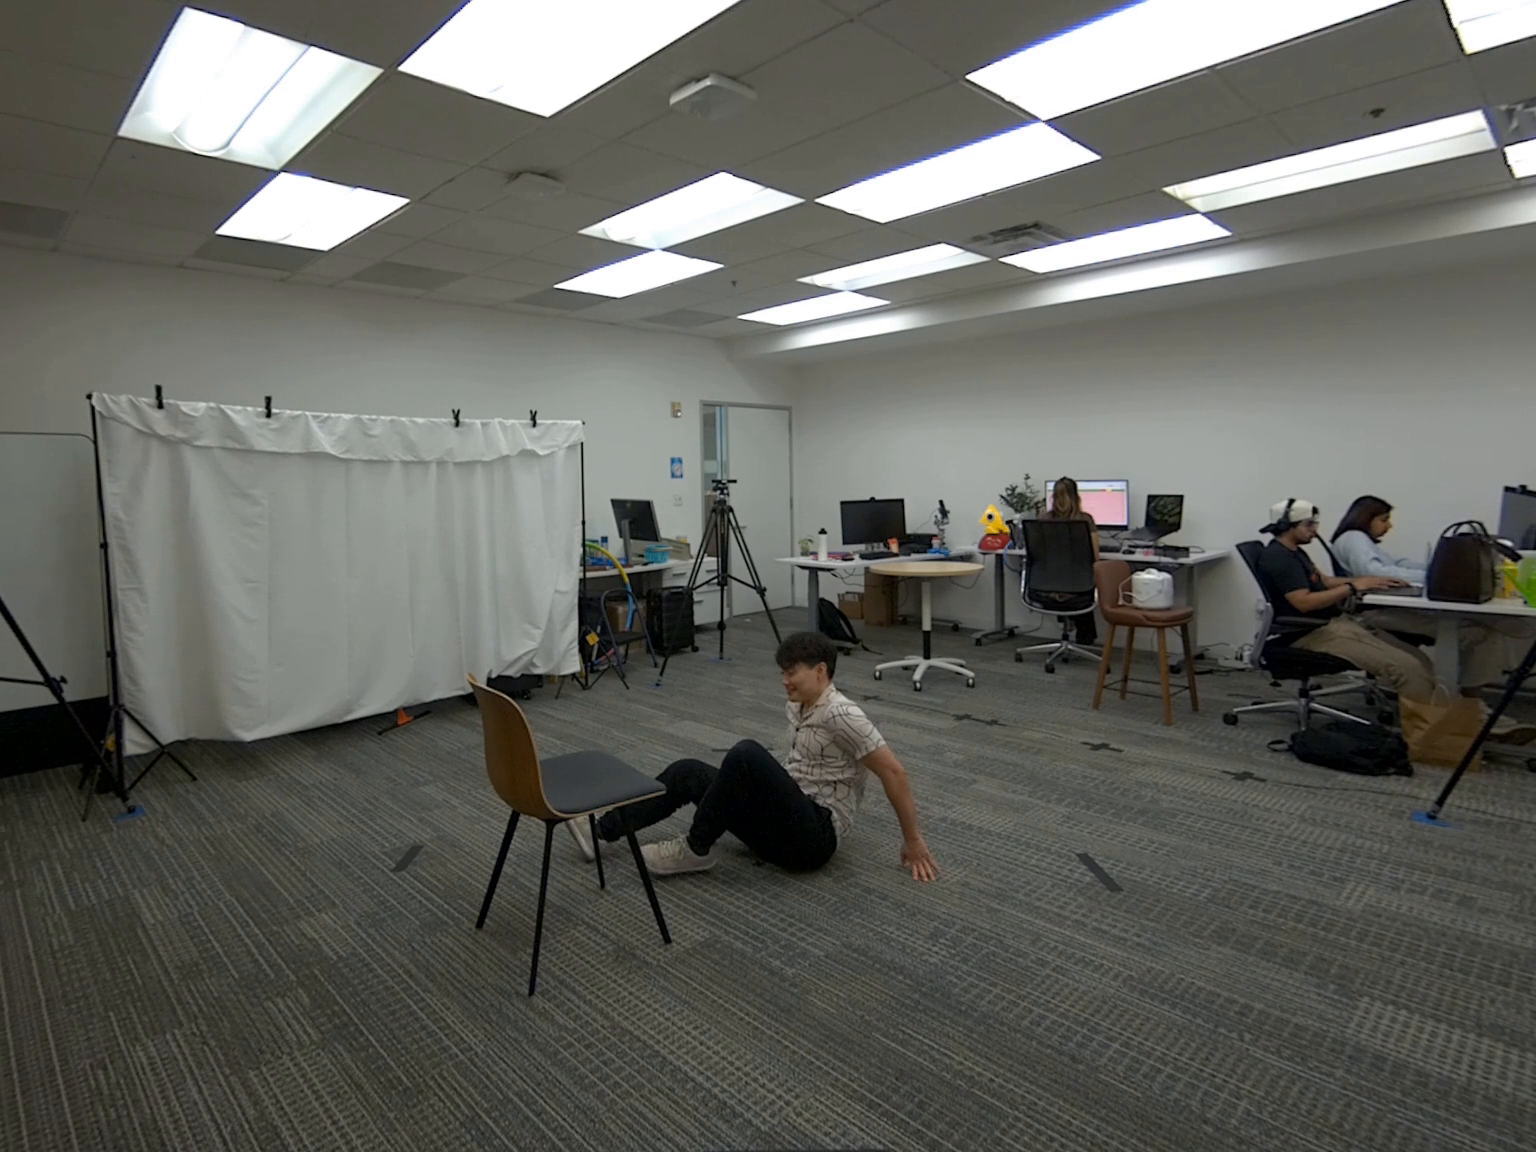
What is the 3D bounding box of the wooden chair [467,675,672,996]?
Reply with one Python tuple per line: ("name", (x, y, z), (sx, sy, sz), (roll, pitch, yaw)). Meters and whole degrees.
("wooden chair", (-0.607, 0.689, 2.617), (0.511, 0.872, 0.492), (-10, 8, -35))
